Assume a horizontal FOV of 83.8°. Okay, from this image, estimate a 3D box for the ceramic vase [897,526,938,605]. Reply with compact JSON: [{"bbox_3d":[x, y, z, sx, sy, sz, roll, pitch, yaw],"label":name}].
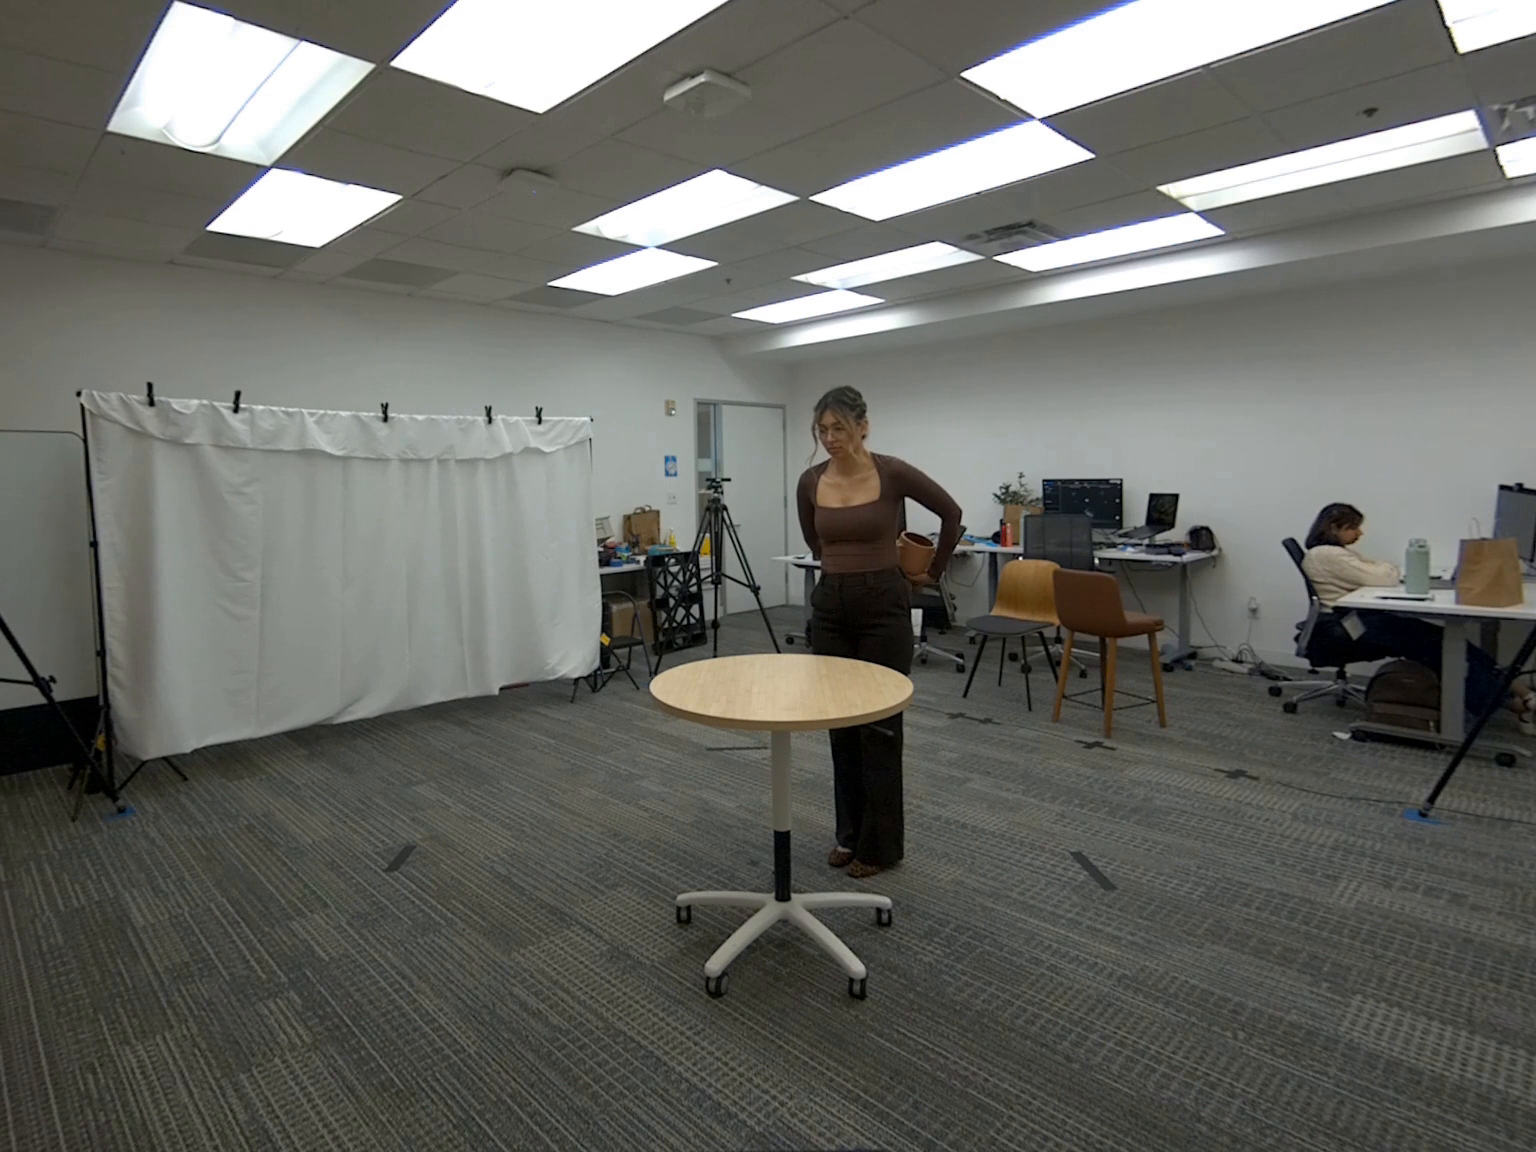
[{"bbox_3d":[0.540,-0.042,3.188,0.161,0.217,0.134,20,22,11],"label":"ceramic vase"}]
